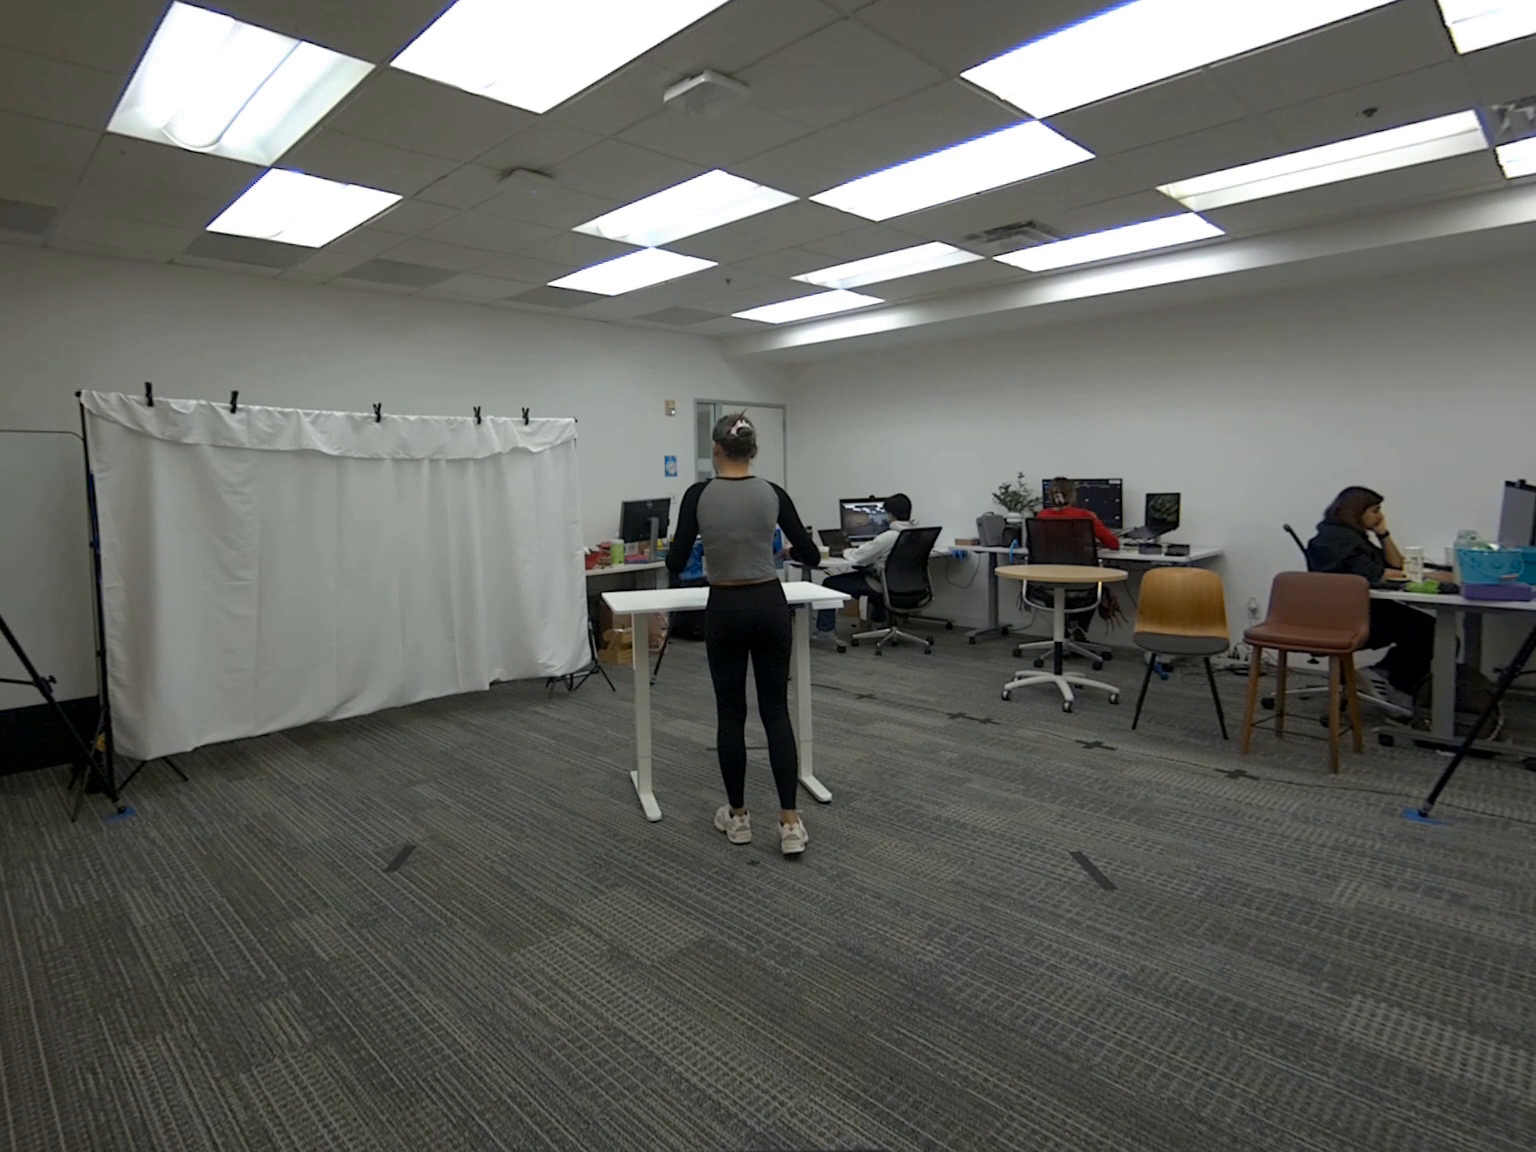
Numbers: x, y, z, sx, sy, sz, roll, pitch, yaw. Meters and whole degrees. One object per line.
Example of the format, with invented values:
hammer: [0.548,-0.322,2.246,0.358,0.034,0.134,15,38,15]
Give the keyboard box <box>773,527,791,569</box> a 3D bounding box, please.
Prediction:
keyboard box: [-0.145,-0.096,3.583,0.435,0.174,0.060,-8,10,-4]
